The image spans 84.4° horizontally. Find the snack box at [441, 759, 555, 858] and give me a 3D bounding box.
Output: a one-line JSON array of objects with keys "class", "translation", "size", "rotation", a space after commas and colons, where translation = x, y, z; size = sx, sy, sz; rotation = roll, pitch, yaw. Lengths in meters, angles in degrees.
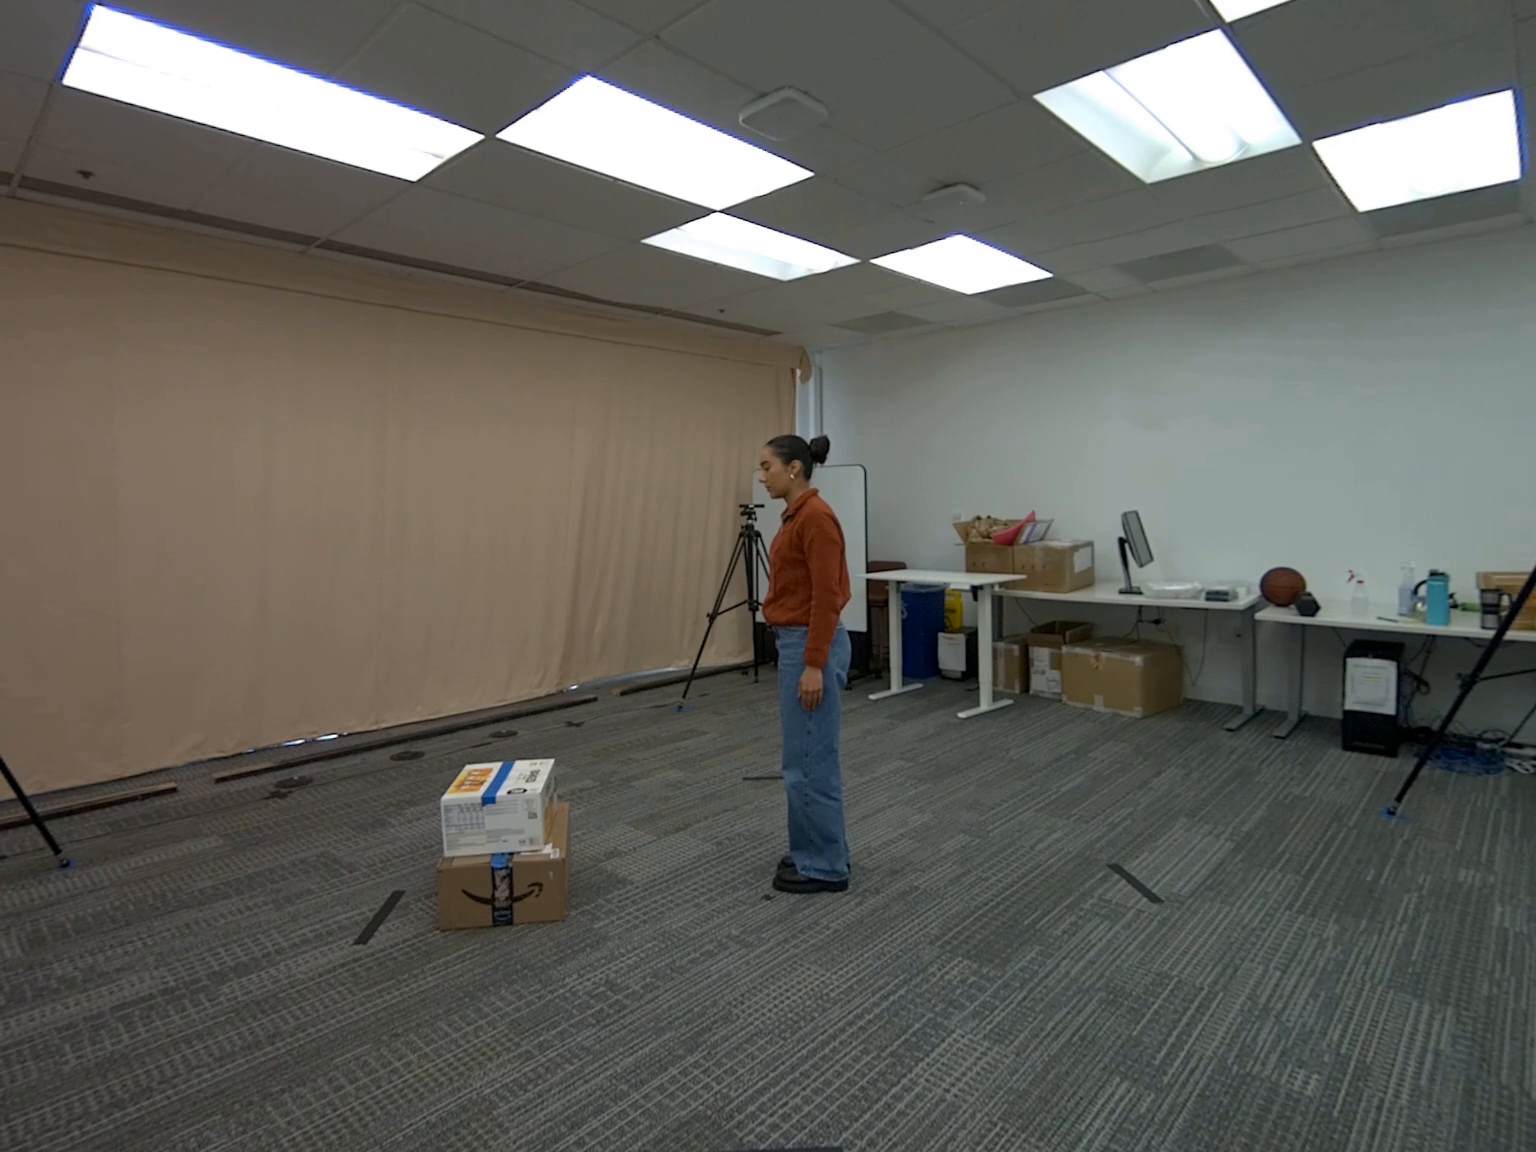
[{"class": "snack box", "translation": [-0.969, 0.840, 3.076], "size": [0.338, 0.205, 0.408], "rotation": [-4, 4, -6]}]
